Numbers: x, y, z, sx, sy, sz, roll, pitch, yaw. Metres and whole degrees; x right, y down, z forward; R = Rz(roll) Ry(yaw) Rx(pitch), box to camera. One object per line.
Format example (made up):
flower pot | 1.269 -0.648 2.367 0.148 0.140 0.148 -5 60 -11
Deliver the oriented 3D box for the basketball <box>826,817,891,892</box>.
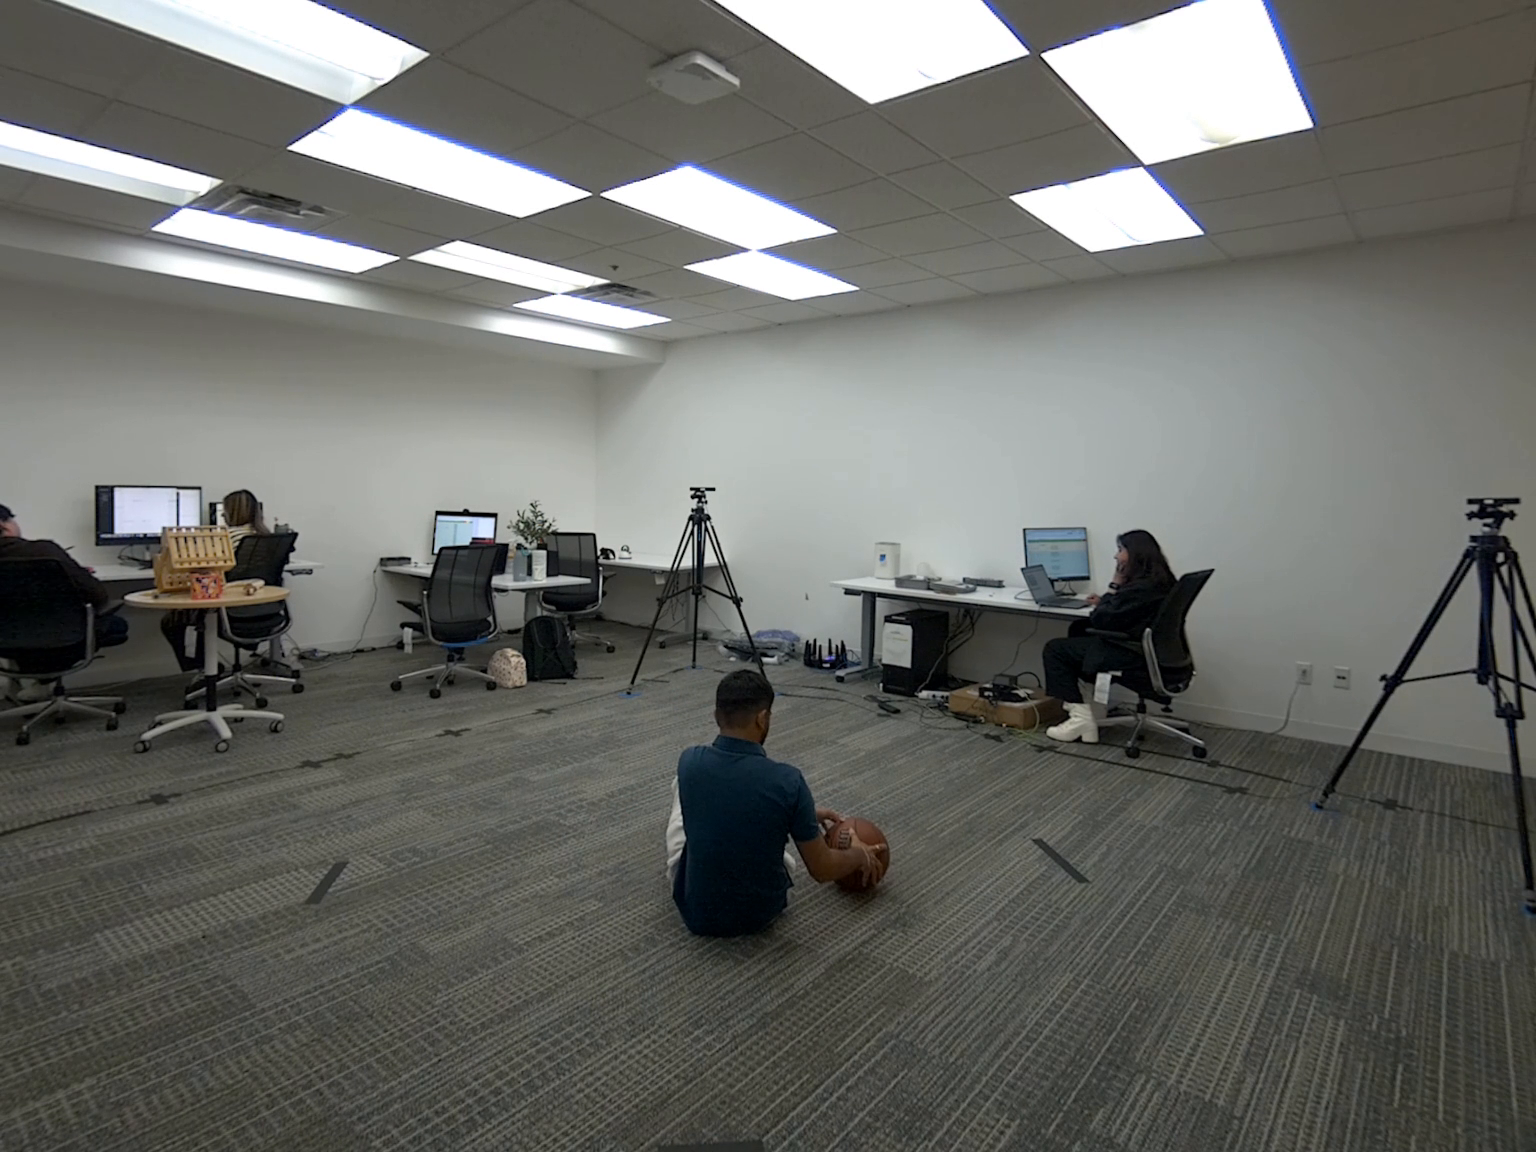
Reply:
basketball | 0.303 0.972 2.988 0.235 0.235 0.237 1 4 -2
